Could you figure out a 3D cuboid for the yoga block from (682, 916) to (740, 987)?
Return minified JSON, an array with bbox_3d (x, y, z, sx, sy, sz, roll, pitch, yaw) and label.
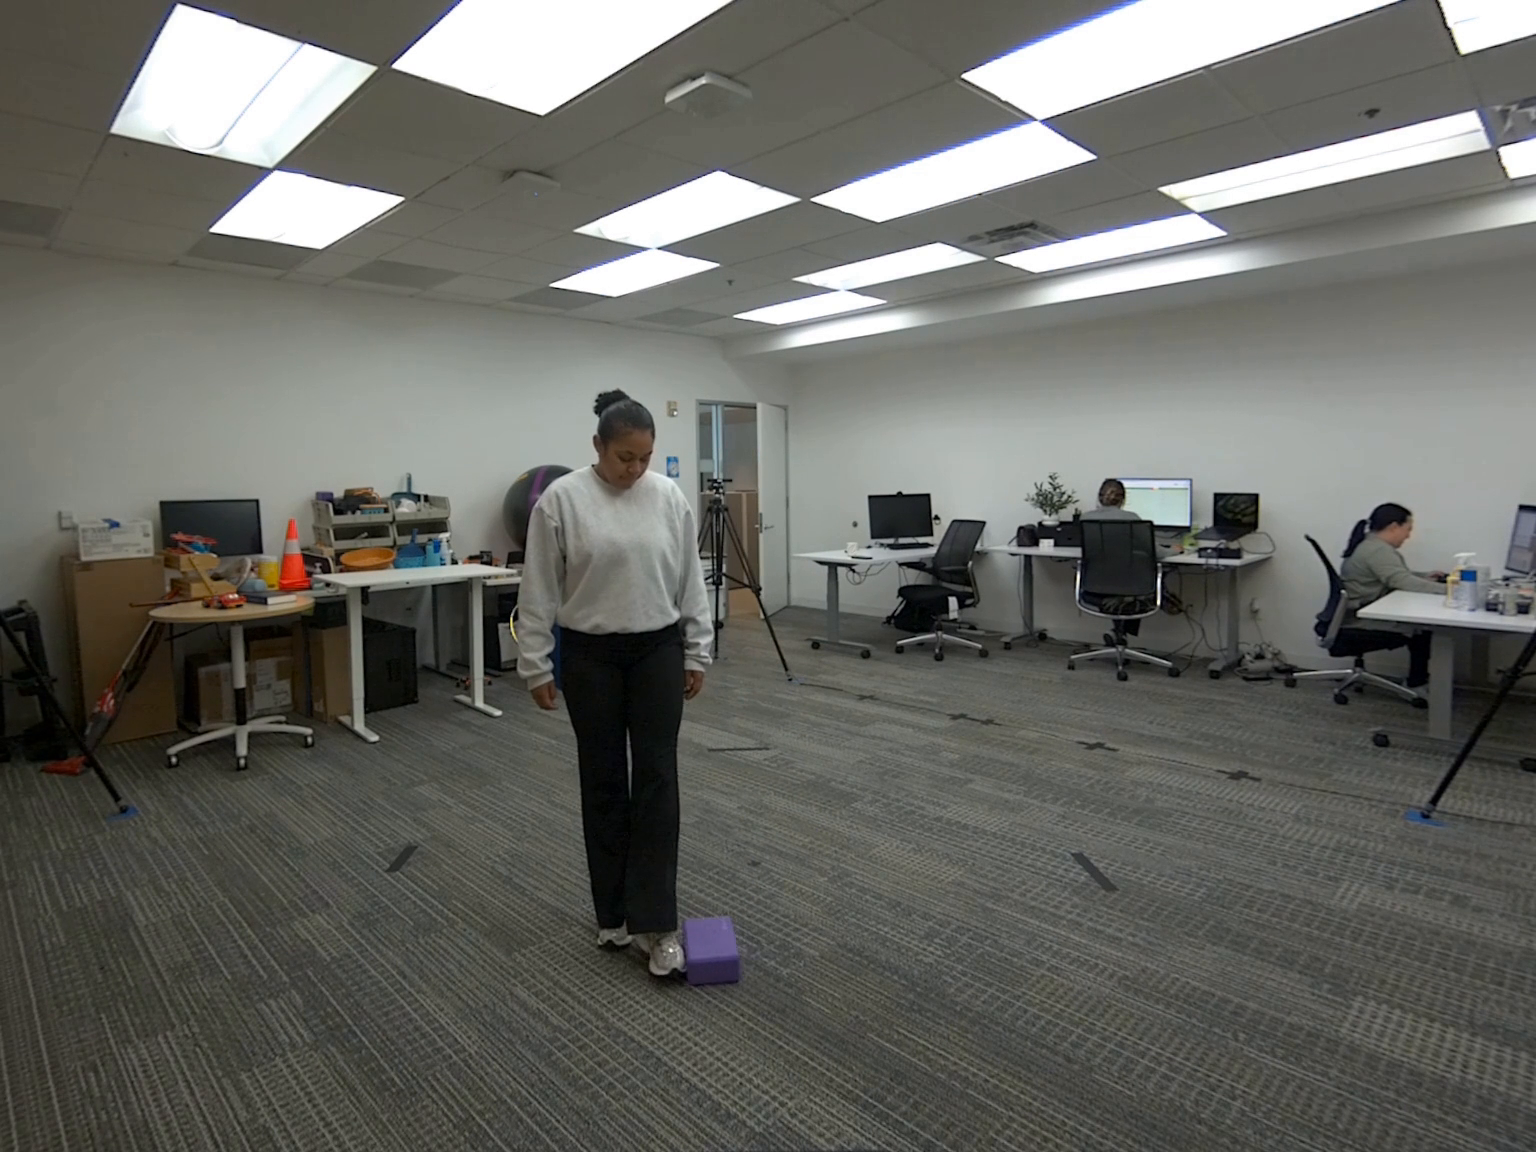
[{"bbox_3d":[-0.153,1.073,2.491,0.148,0.076,0.232,-2,6,-8],"label":"yoga block"}]
